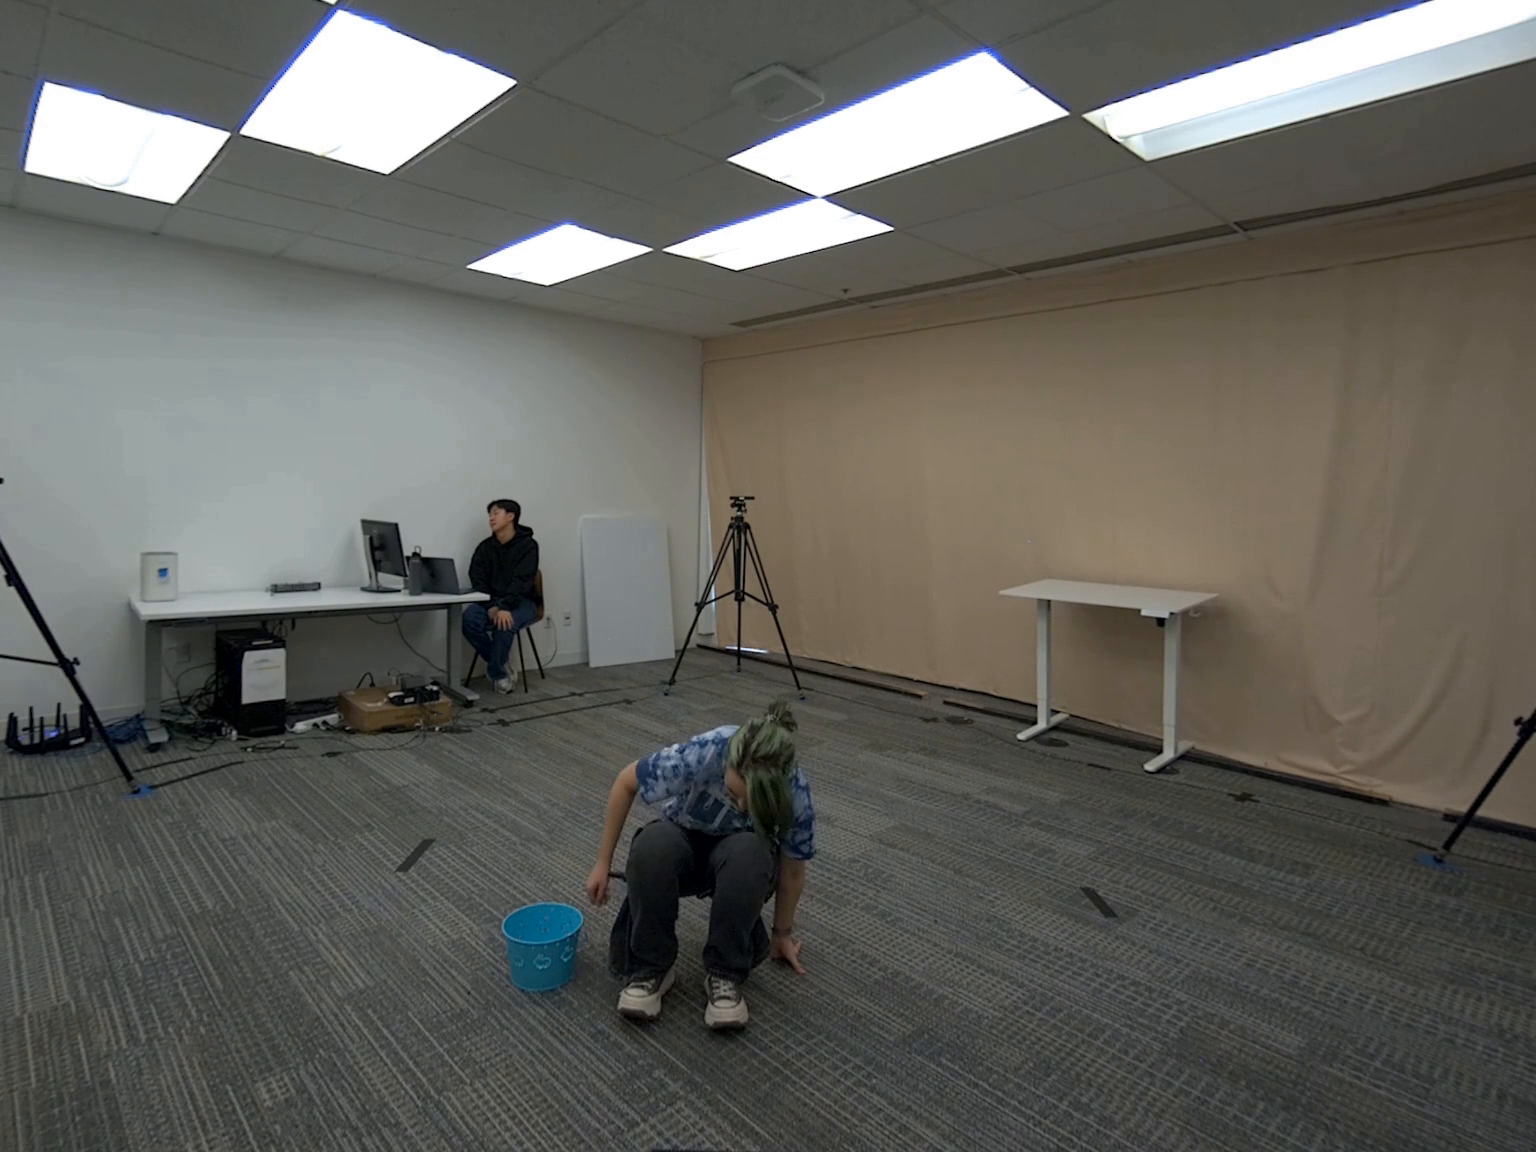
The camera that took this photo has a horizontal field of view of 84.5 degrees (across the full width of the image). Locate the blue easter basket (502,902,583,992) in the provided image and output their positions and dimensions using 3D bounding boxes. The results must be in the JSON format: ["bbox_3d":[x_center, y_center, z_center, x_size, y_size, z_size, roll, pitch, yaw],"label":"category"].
[{"bbox_3d":[-0.656,1.070,2.439,0.243,0.155,0.244,1,5,-1],"label":"blue easter basket"}]
